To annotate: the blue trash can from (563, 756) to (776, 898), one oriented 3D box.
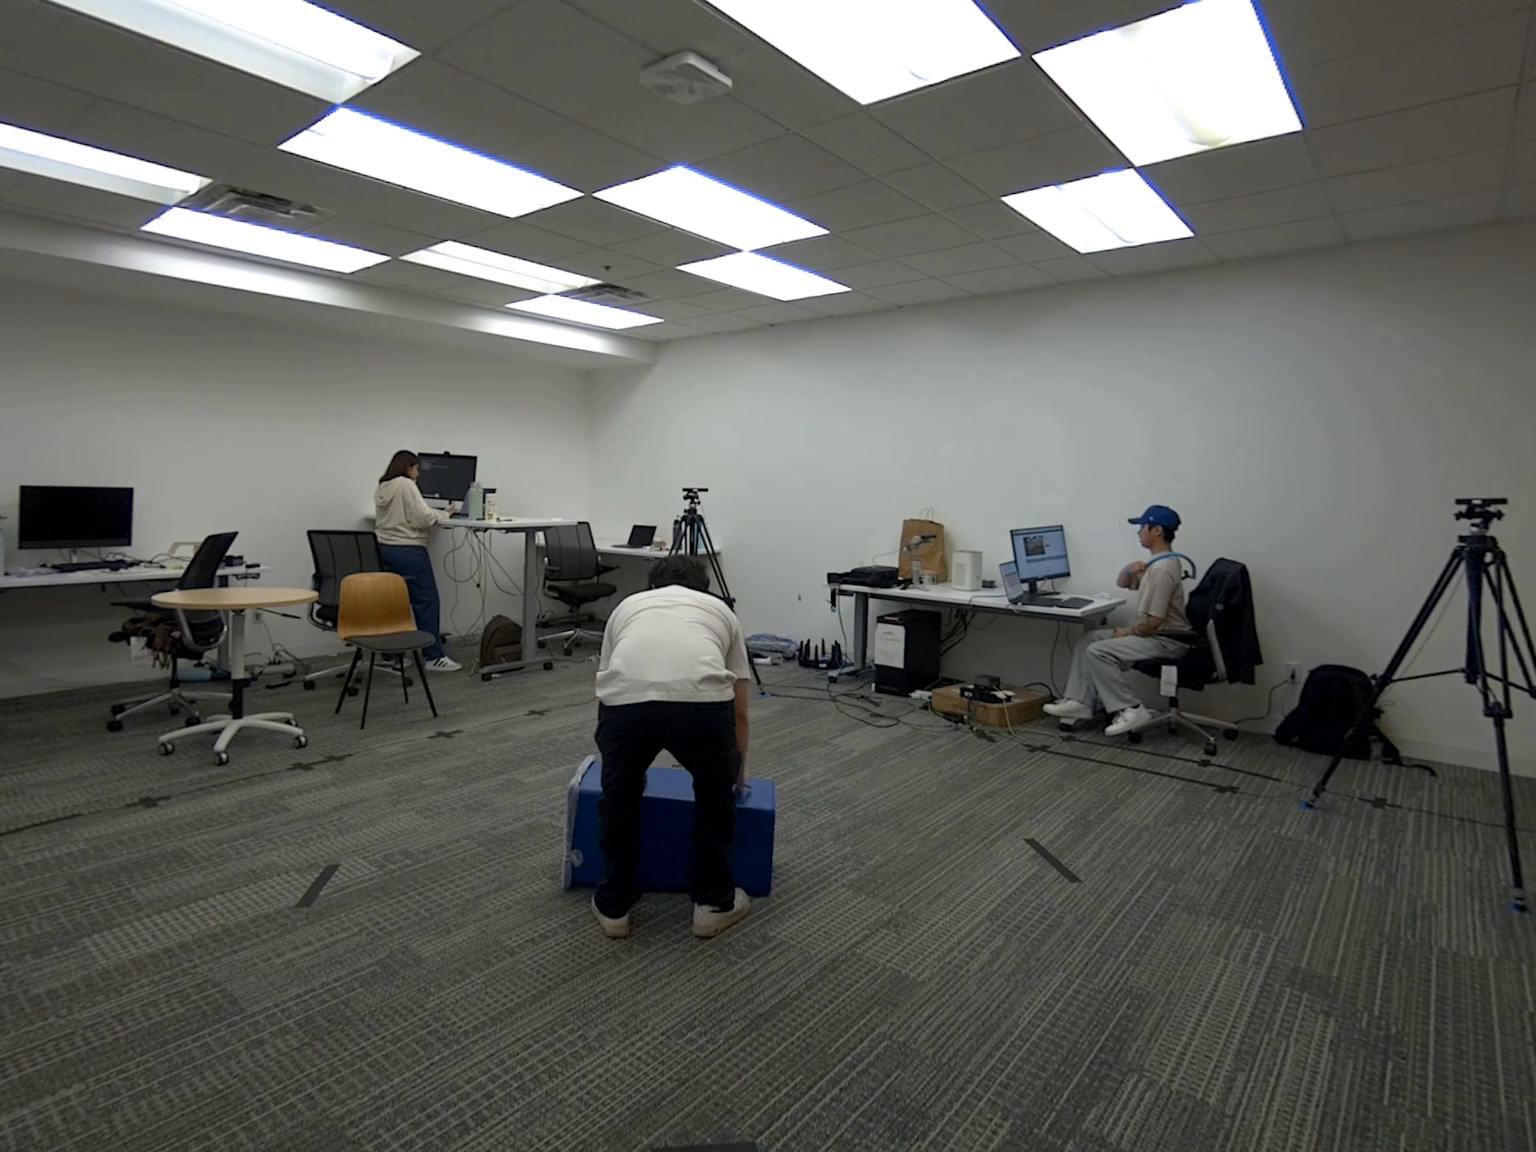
[{"bbox_3d":[-0.353,0.900,3.067,0.715,0.377,0.374,4,3,2],"label":"blue trash can"}]
